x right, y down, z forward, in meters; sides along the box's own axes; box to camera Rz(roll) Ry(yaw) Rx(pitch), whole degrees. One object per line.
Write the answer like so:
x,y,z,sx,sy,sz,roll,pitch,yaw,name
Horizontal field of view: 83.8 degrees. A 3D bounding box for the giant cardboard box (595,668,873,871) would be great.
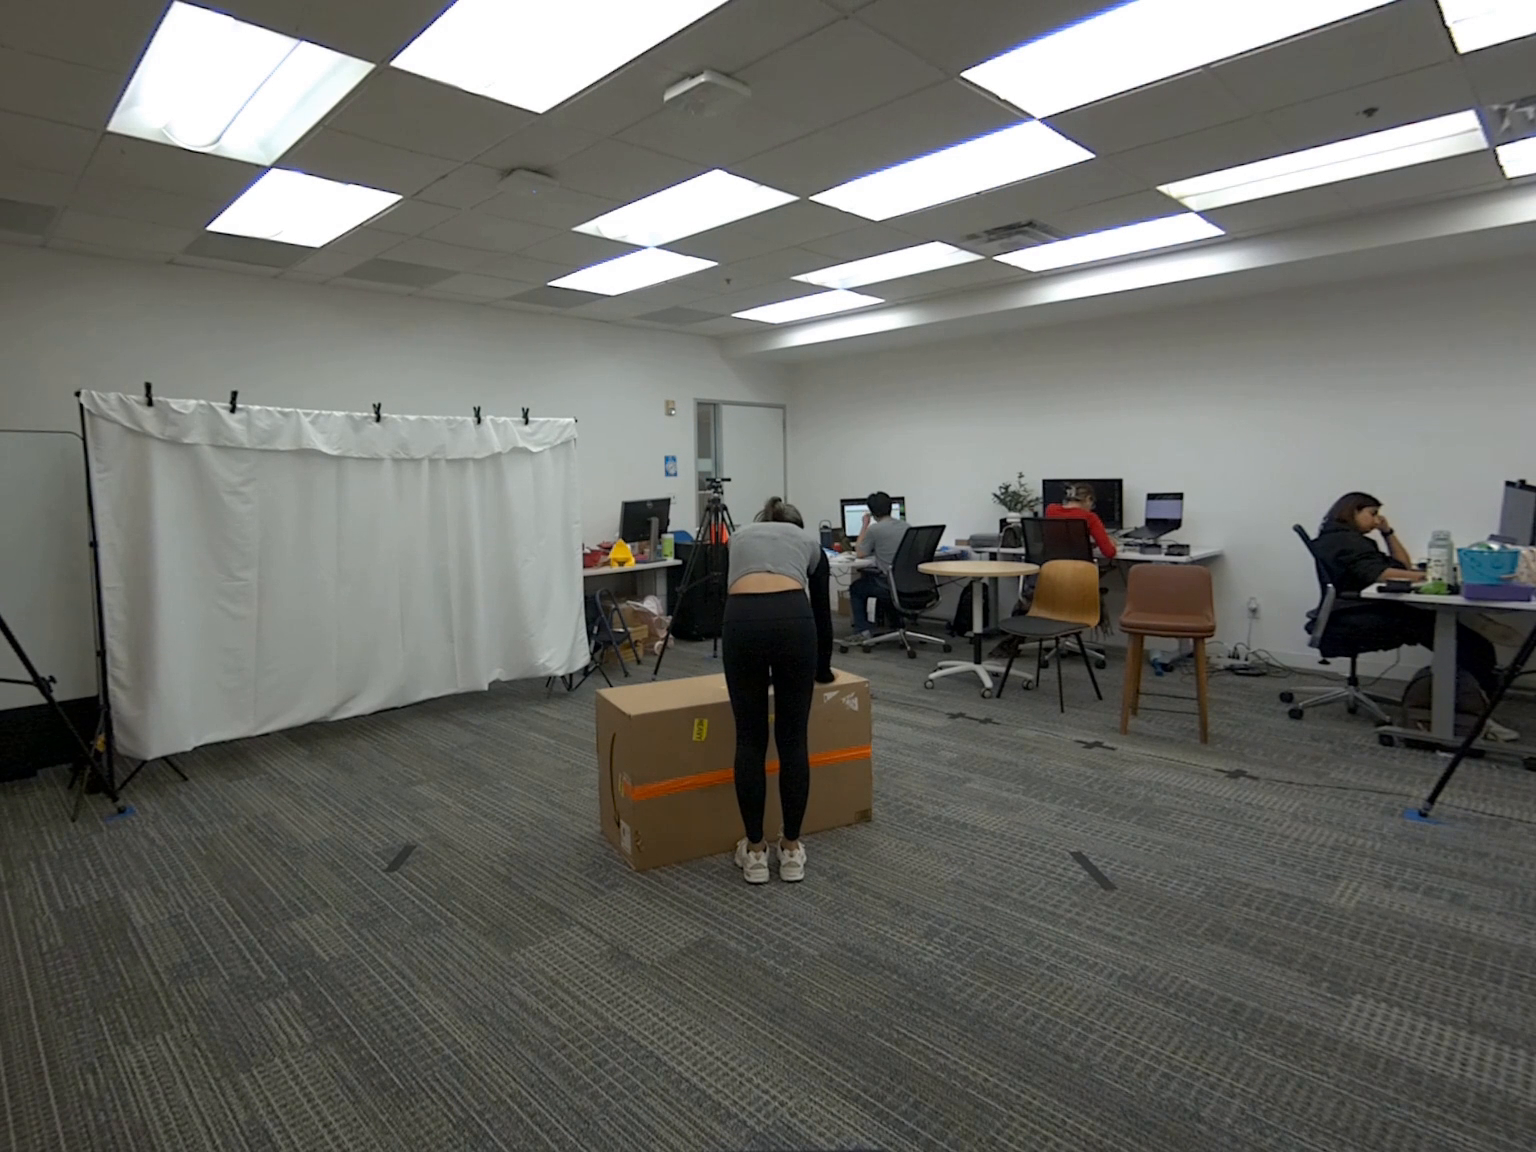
-0.131,0.718,3.429,1.004,0.575,0.437,-4,5,-25,giant cardboard box
